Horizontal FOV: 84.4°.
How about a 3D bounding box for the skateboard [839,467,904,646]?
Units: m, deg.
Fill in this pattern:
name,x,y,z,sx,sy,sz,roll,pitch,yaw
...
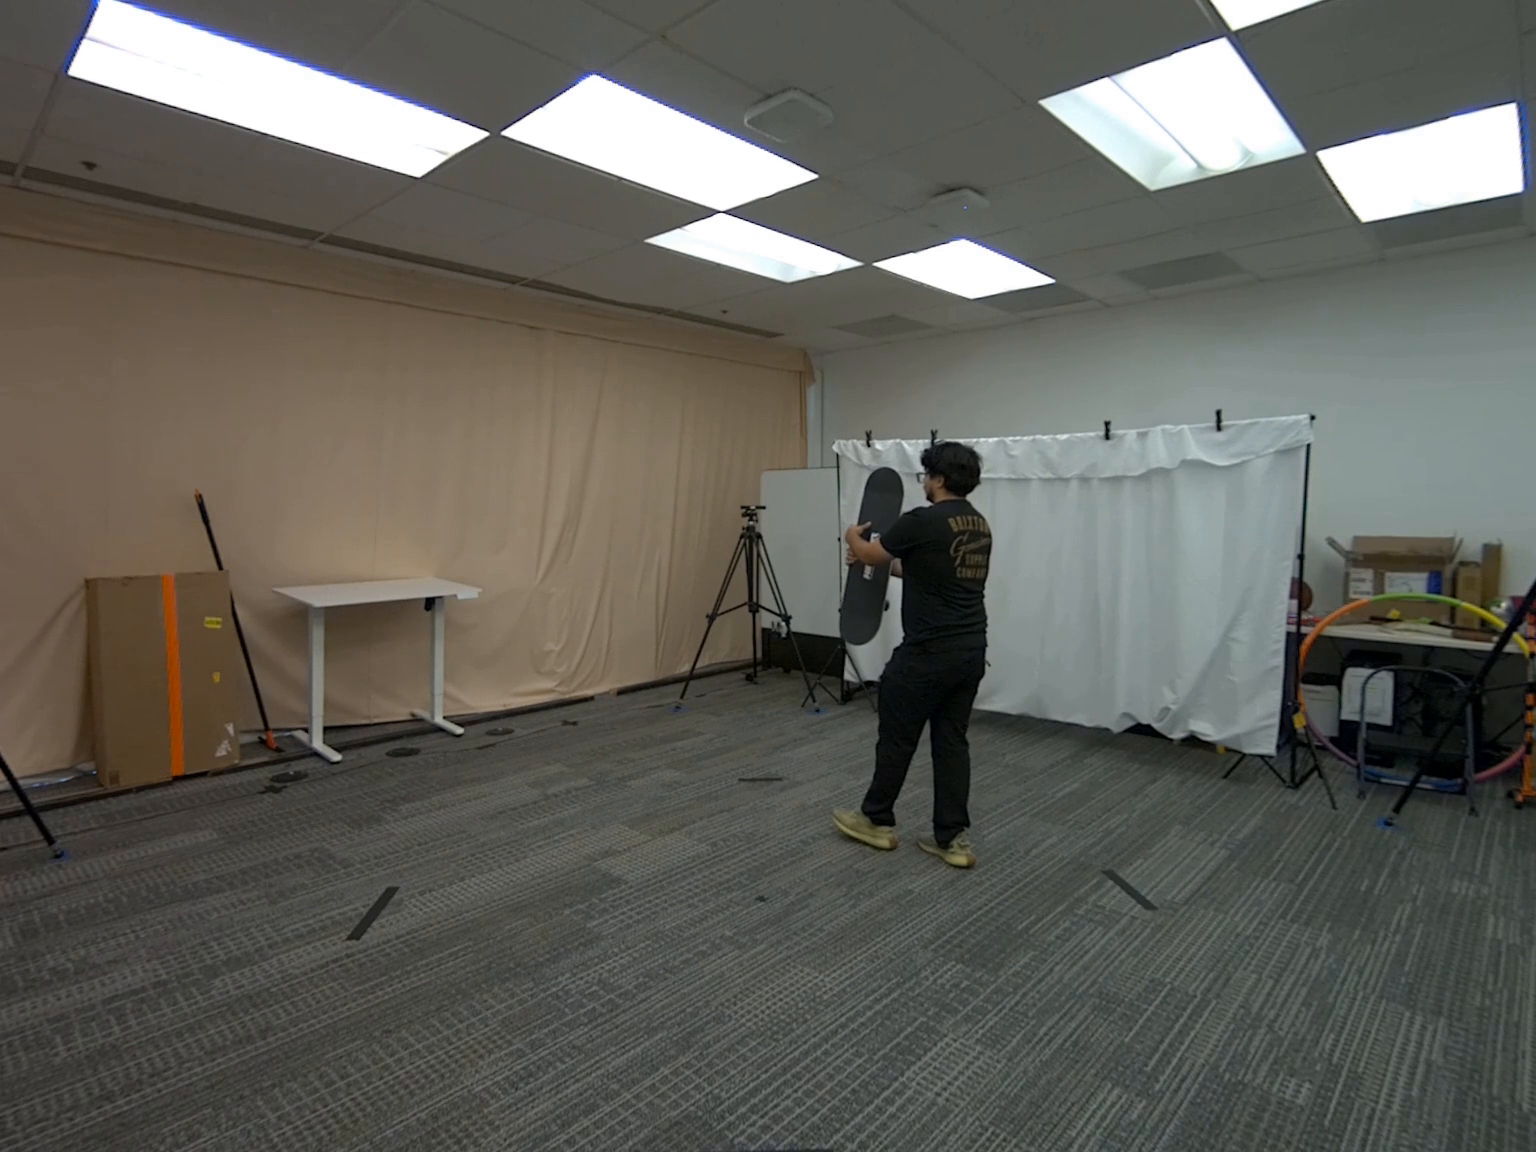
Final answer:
name,x,y,z,sx,sy,sz,roll,pitch,yaw
skateboard,0.458,-0.080,3.681,0.199,0.787,0.107,7,-6,29
